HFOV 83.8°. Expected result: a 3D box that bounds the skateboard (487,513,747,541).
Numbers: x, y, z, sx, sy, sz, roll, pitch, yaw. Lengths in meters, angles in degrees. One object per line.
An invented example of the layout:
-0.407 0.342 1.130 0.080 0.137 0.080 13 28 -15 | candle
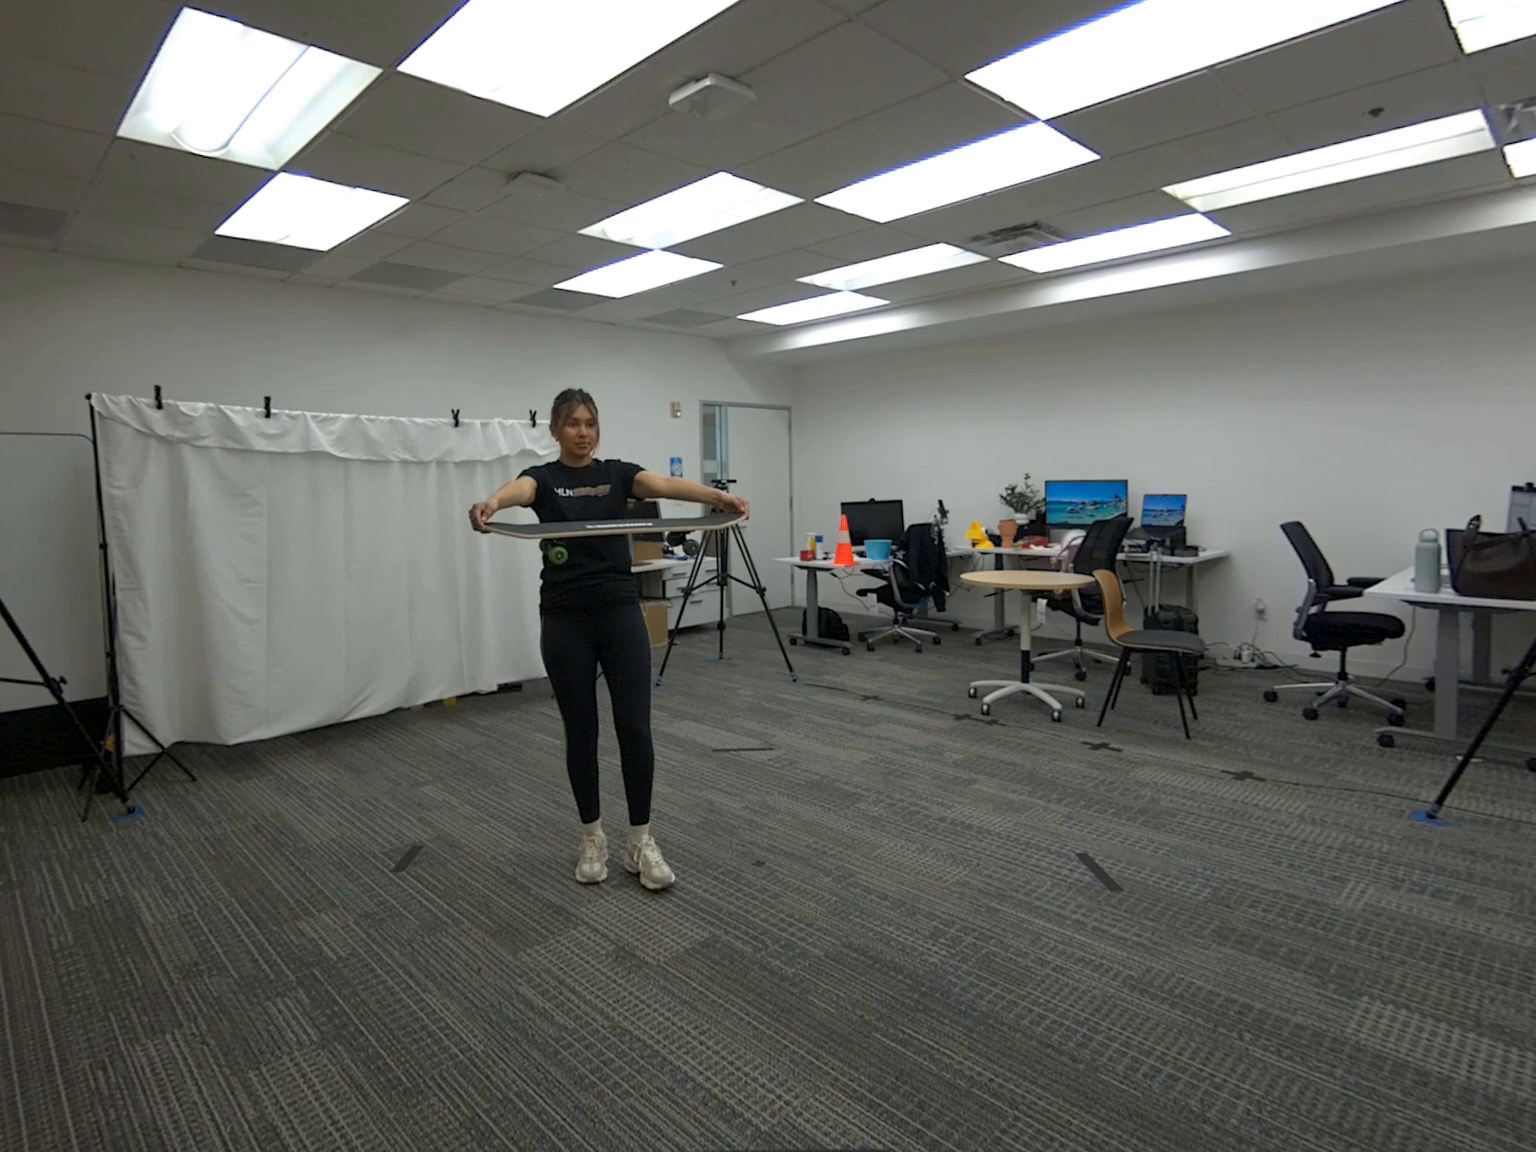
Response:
-0.436 -0.113 2.531 0.771 0.109 0.199 -5 13 -22 | skateboard
